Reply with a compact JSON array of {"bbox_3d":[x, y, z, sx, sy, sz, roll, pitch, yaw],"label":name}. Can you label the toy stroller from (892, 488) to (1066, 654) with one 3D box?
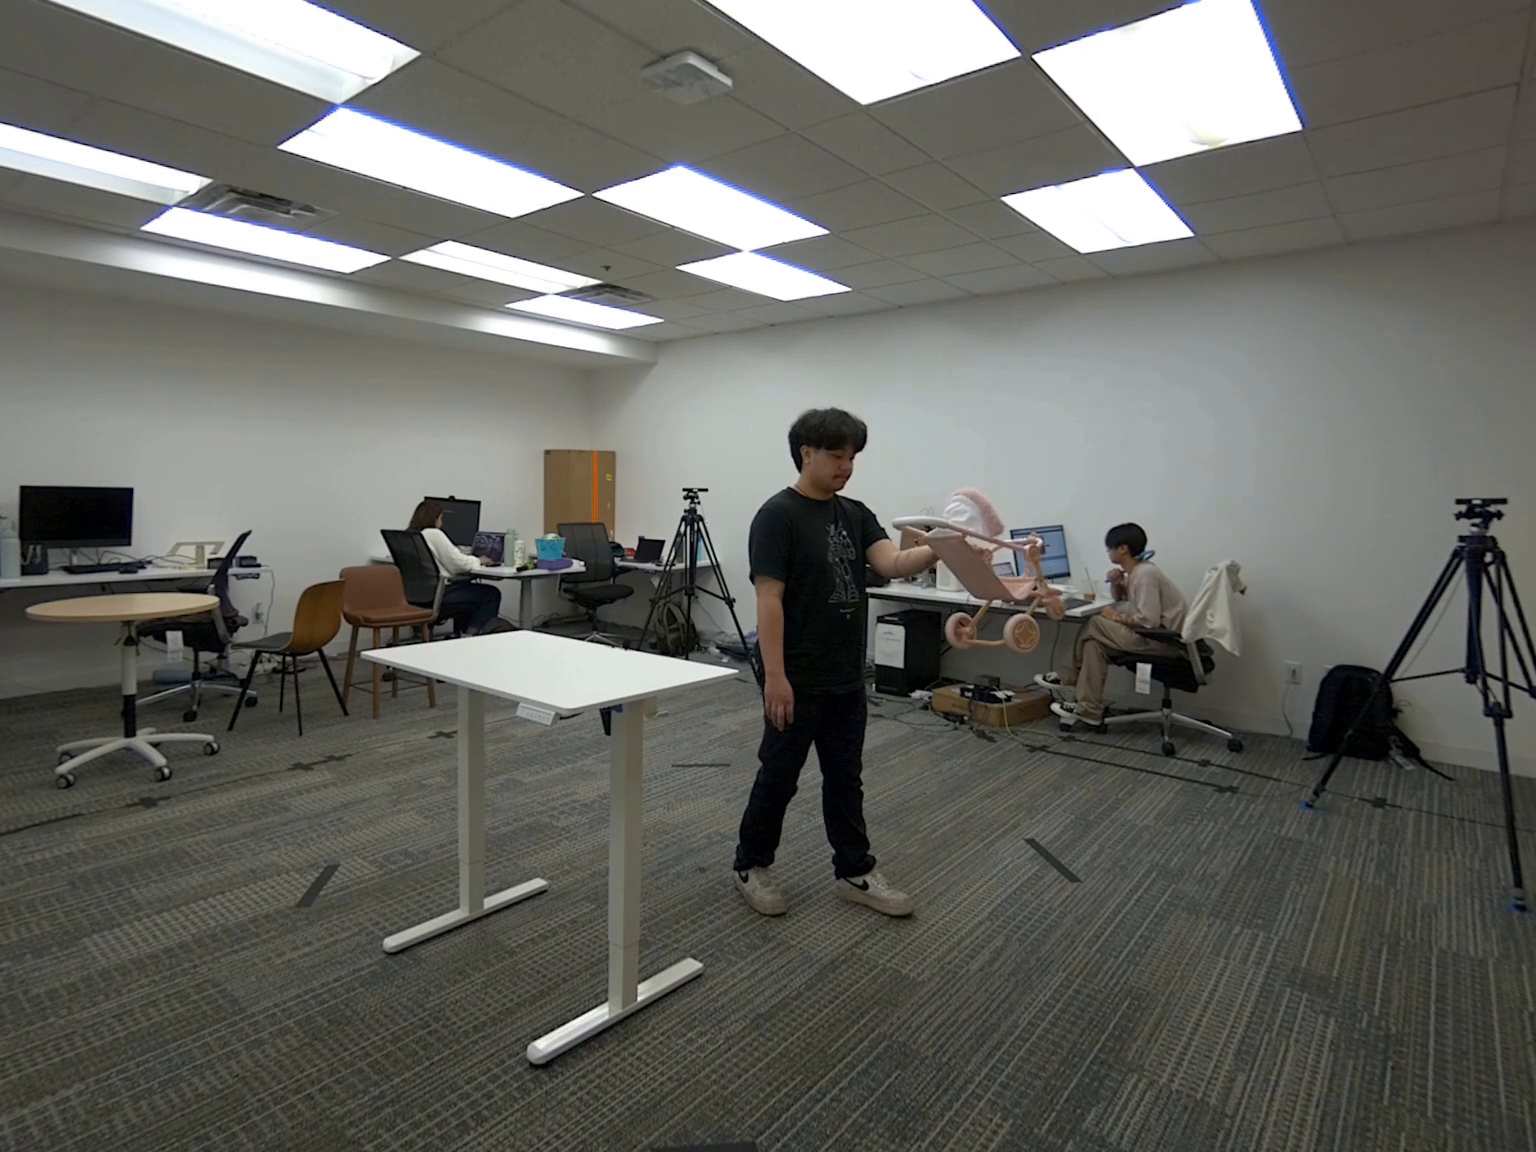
[{"bbox_3d":[0.632,-0.027,2.430,0.339,0.528,0.287,-34,10,-18],"label":"toy stroller"}]
